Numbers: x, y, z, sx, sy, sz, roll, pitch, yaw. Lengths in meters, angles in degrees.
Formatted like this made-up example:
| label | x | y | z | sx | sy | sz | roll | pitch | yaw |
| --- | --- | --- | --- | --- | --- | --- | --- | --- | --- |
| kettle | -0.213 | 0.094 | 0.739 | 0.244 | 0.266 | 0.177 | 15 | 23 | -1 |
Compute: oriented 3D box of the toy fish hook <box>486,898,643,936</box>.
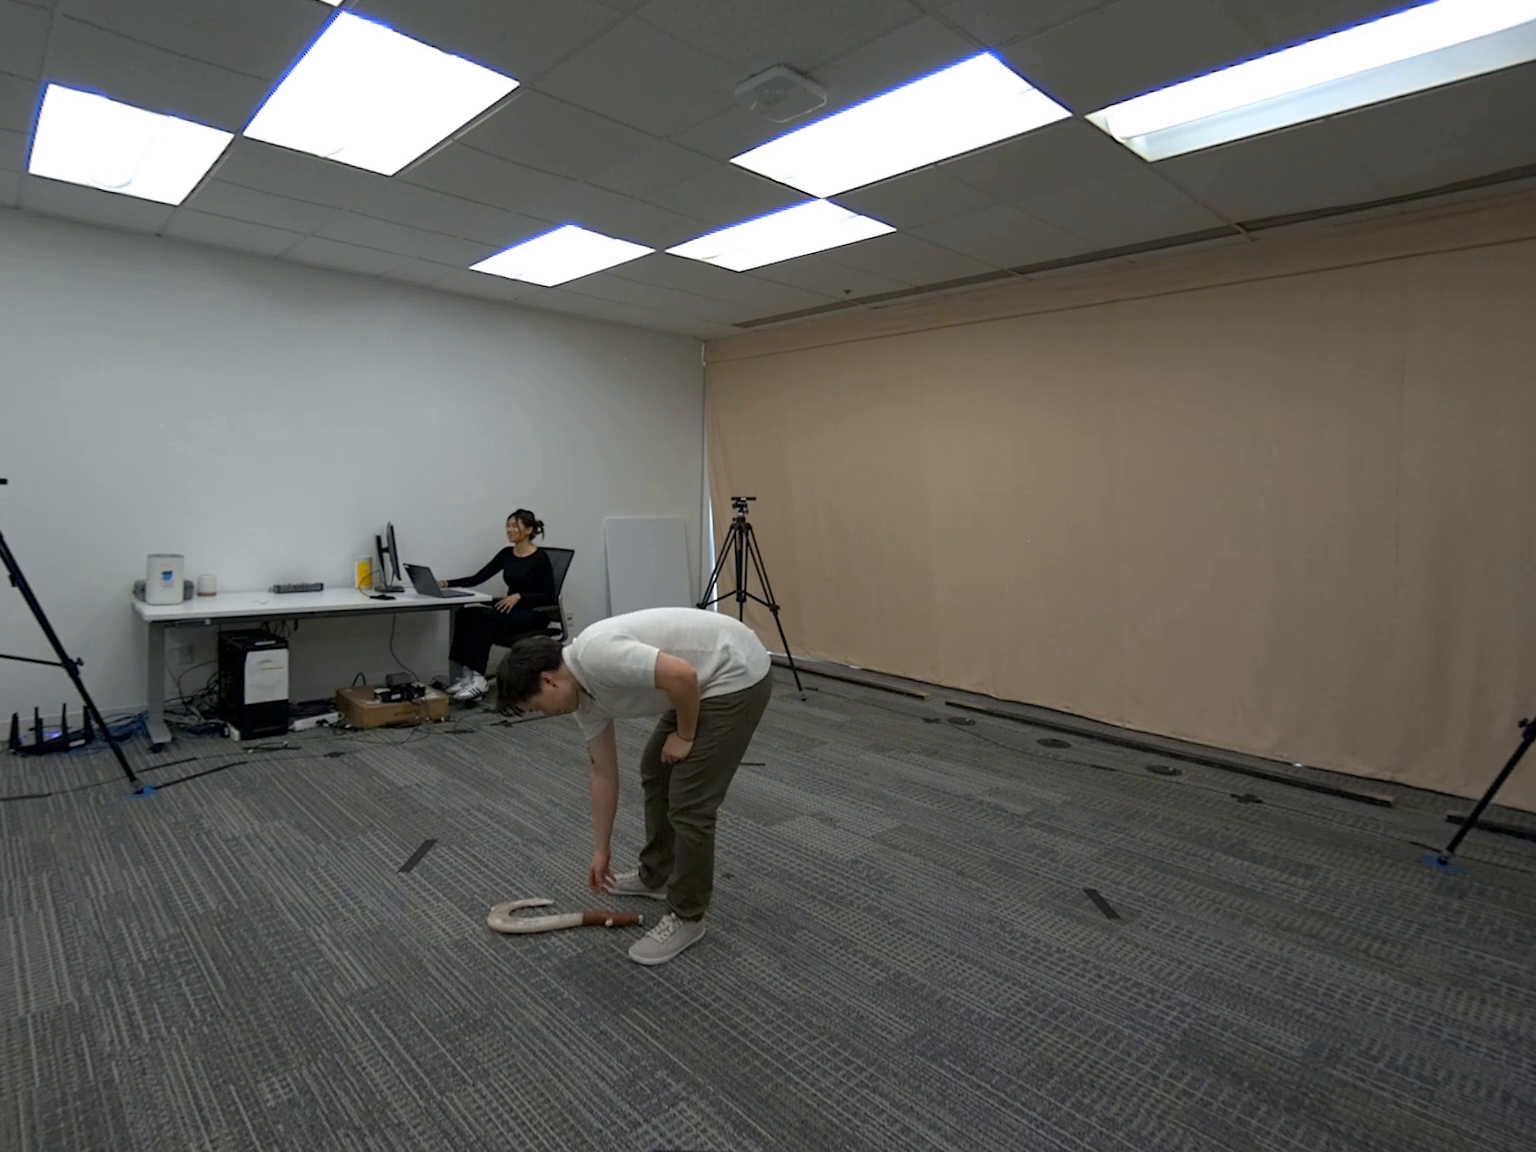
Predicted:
| label | x | y | z | sx | sy | sz | roll | pitch | yaw |
| --- | --- | --- | --- | --- | --- | --- | --- | --- | --- |
| toy fish hook | -0.660 | 1.099 | 2.763 | 0.504 | 0.048 | 0.226 | 1 | 6 | -5 |
